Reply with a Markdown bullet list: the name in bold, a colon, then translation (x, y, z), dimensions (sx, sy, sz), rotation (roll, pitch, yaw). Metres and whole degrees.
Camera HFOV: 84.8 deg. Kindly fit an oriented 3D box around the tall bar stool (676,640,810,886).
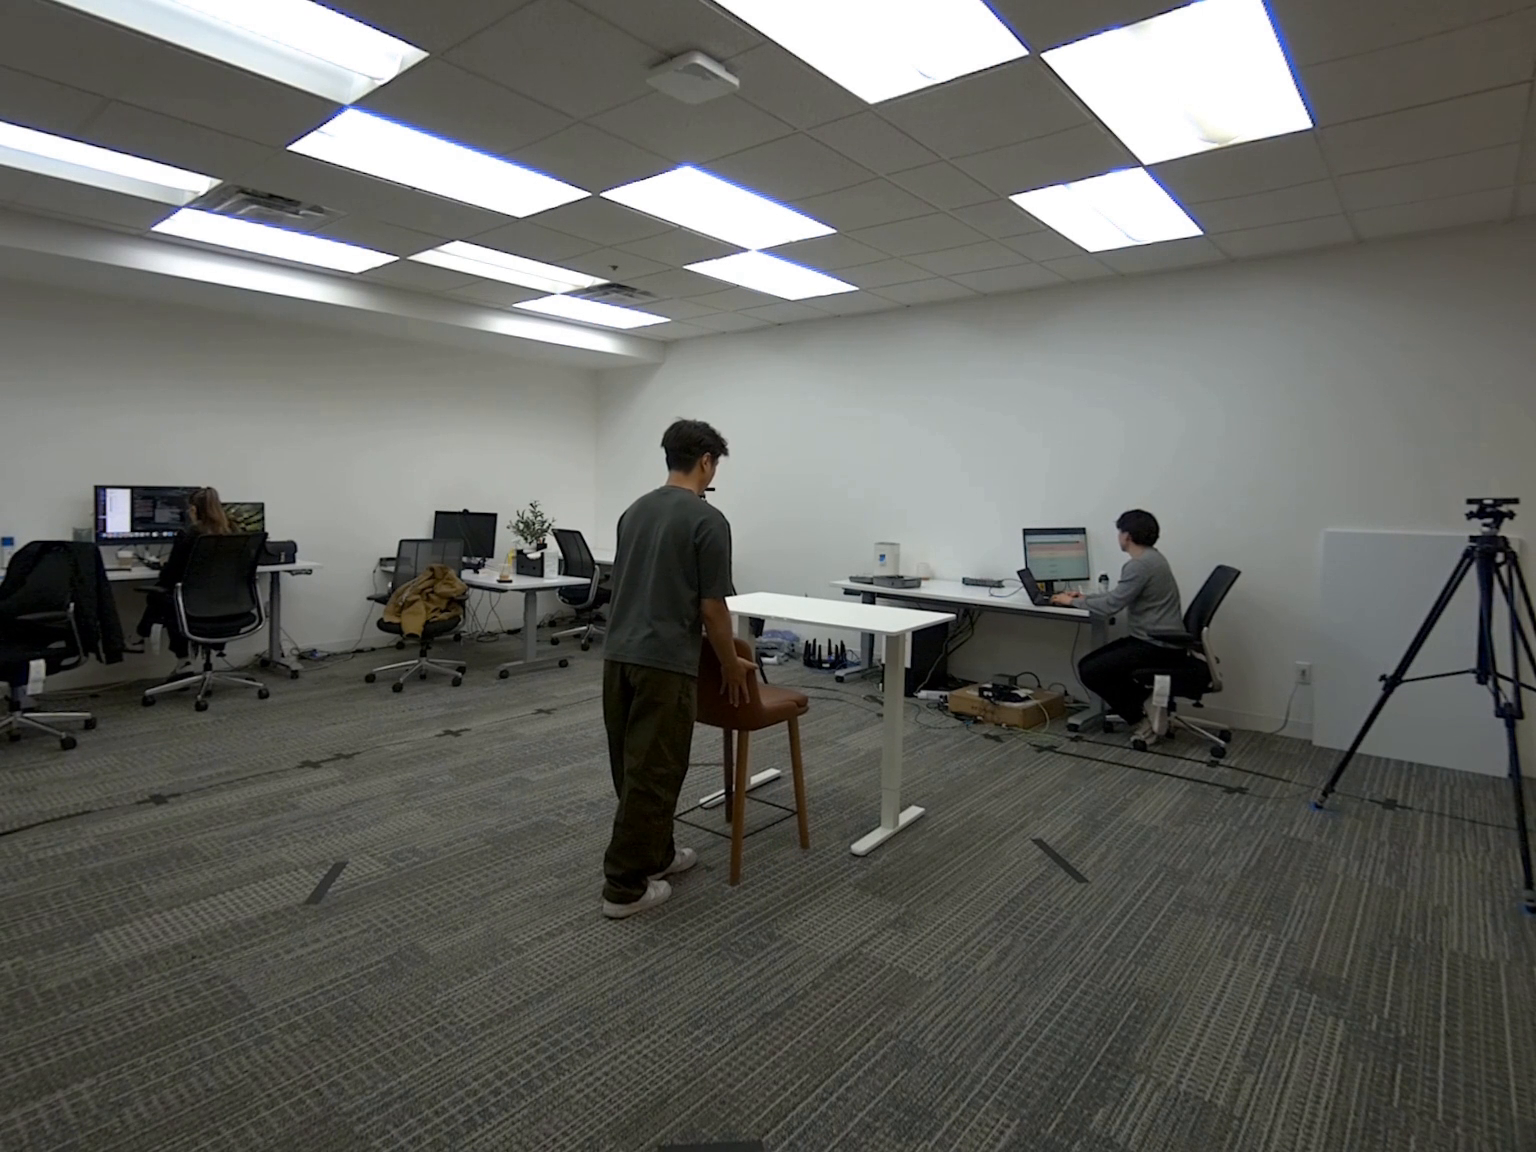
- **tall bar stool**: translation (-0.136, 0.614, 3.243), dimensions (0.471, 0.886, 0.455), rotation (4, 6, 37)
